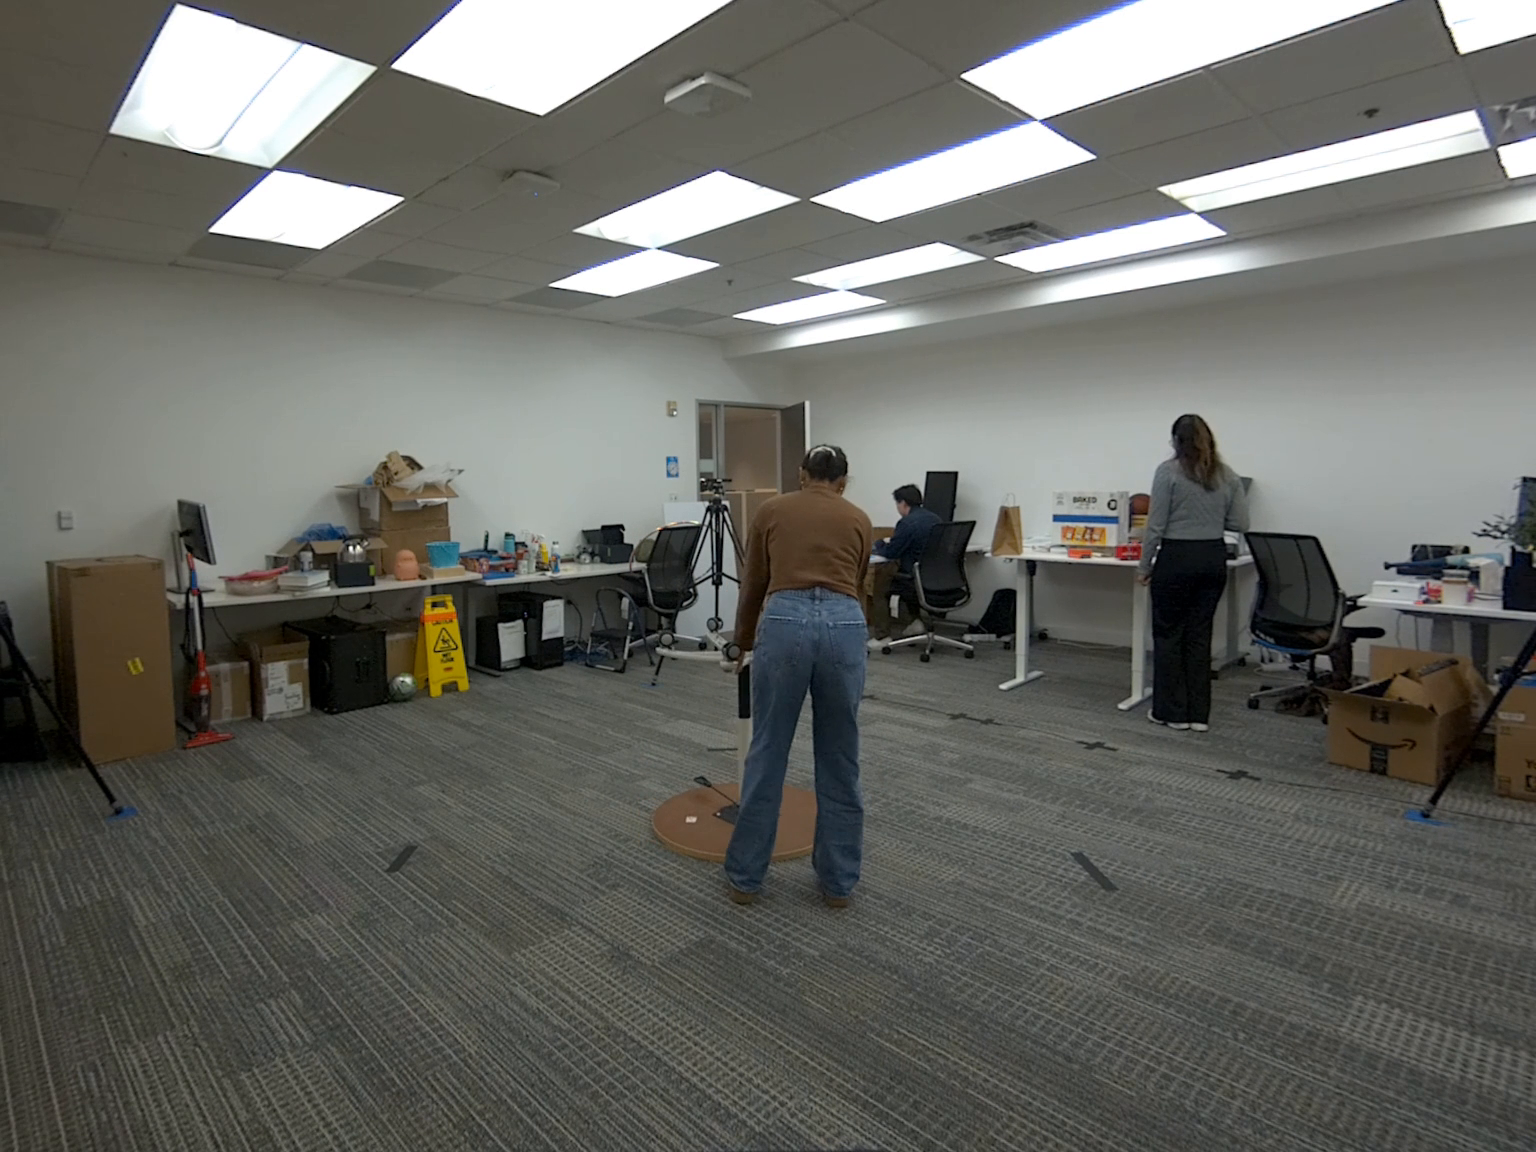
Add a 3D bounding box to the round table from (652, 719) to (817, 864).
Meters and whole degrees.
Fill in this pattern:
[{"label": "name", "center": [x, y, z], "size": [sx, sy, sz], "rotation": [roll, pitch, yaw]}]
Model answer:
[{"label": "round table", "center": [-0.094, 0.612, 3.469], "size": [0.763, 0.791, 0.768], "rotation": [0, 5, -2]}]
